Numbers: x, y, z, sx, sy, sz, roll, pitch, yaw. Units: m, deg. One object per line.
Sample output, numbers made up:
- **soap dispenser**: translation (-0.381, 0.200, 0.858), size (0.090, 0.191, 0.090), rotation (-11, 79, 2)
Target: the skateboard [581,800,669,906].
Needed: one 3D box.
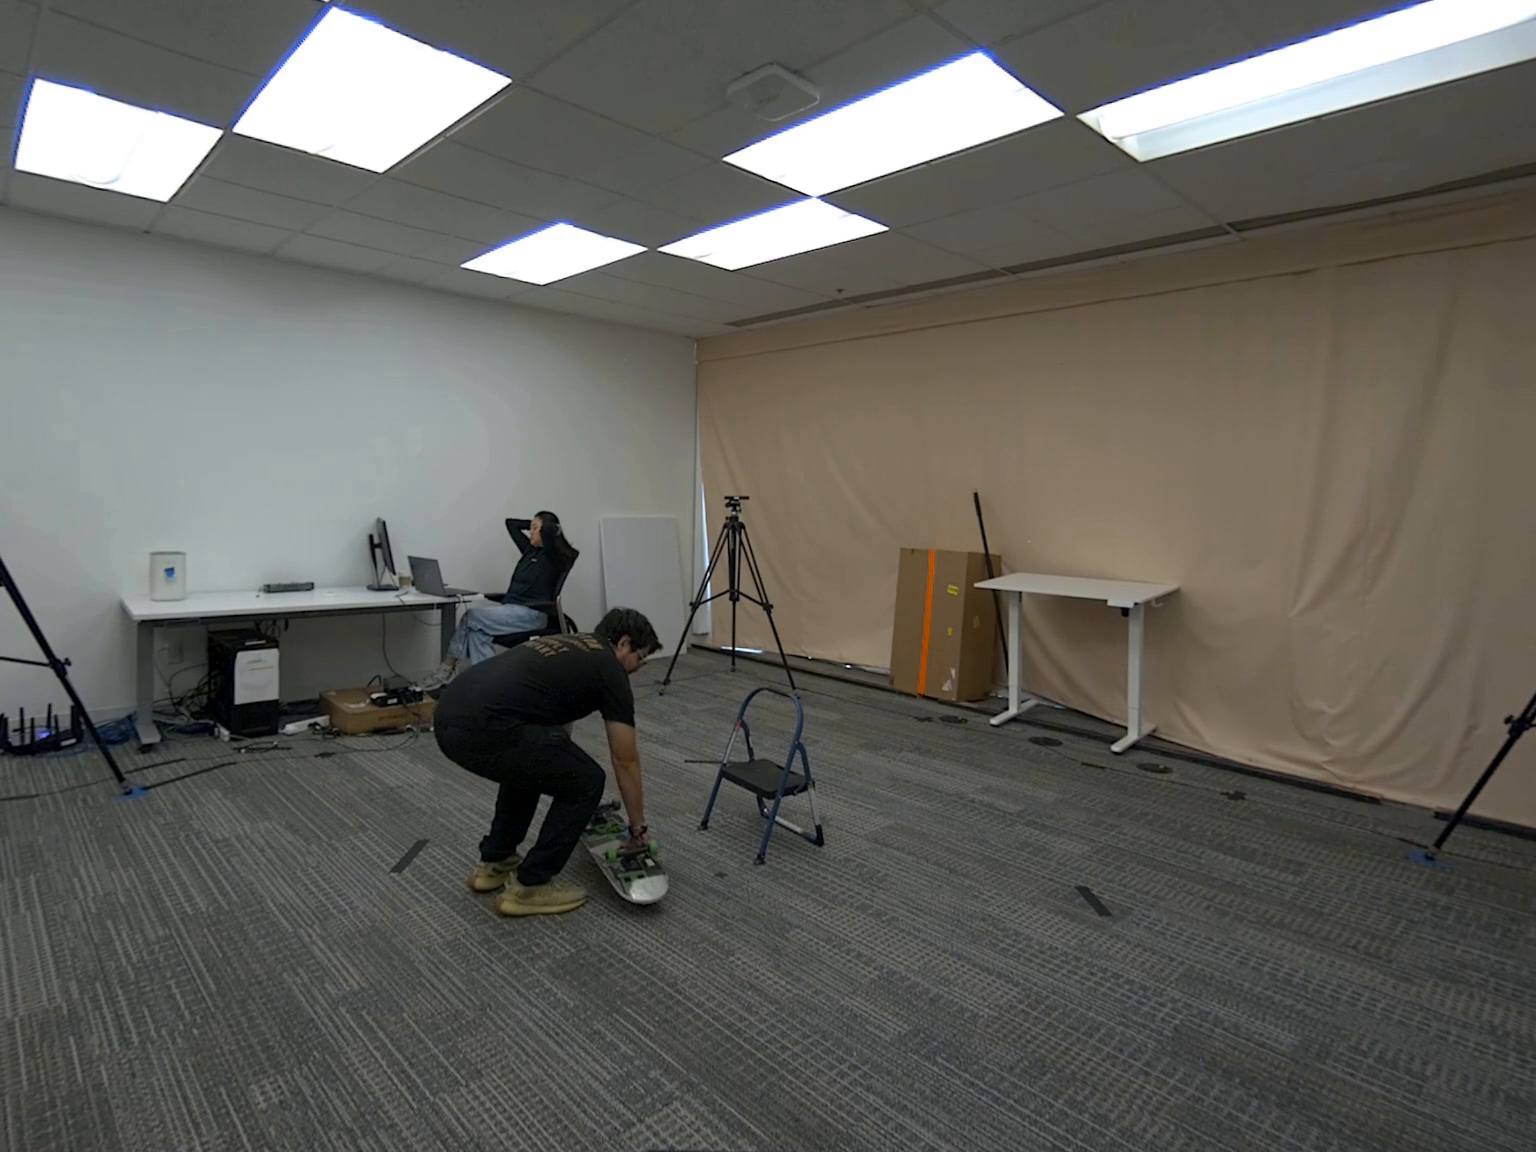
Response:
- **skateboard**: translation (-0.577, 0.962, 3.104), size (0.190, 0.109, 0.805), rotation (-3, 11, -27)
